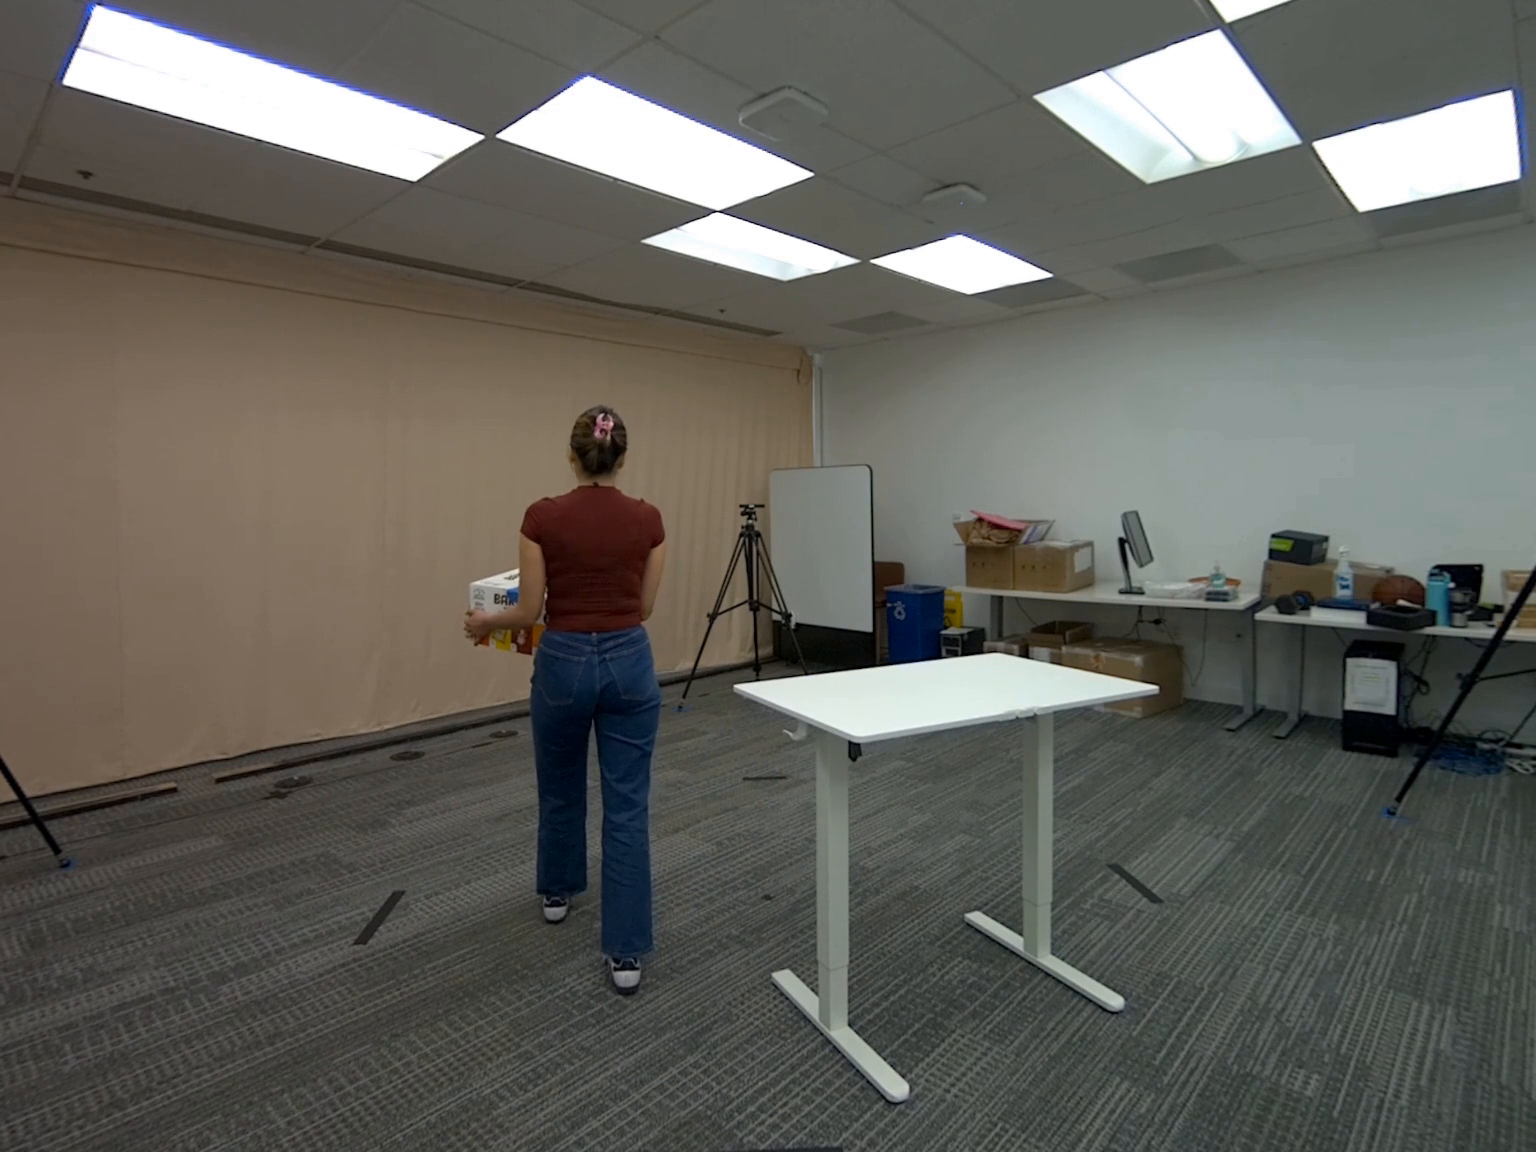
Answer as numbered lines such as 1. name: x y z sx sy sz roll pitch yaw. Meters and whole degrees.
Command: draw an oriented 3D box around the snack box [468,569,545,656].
1. snack box: -0.763 0.101 2.891 0.348 0.204 0.399 8 12 19
